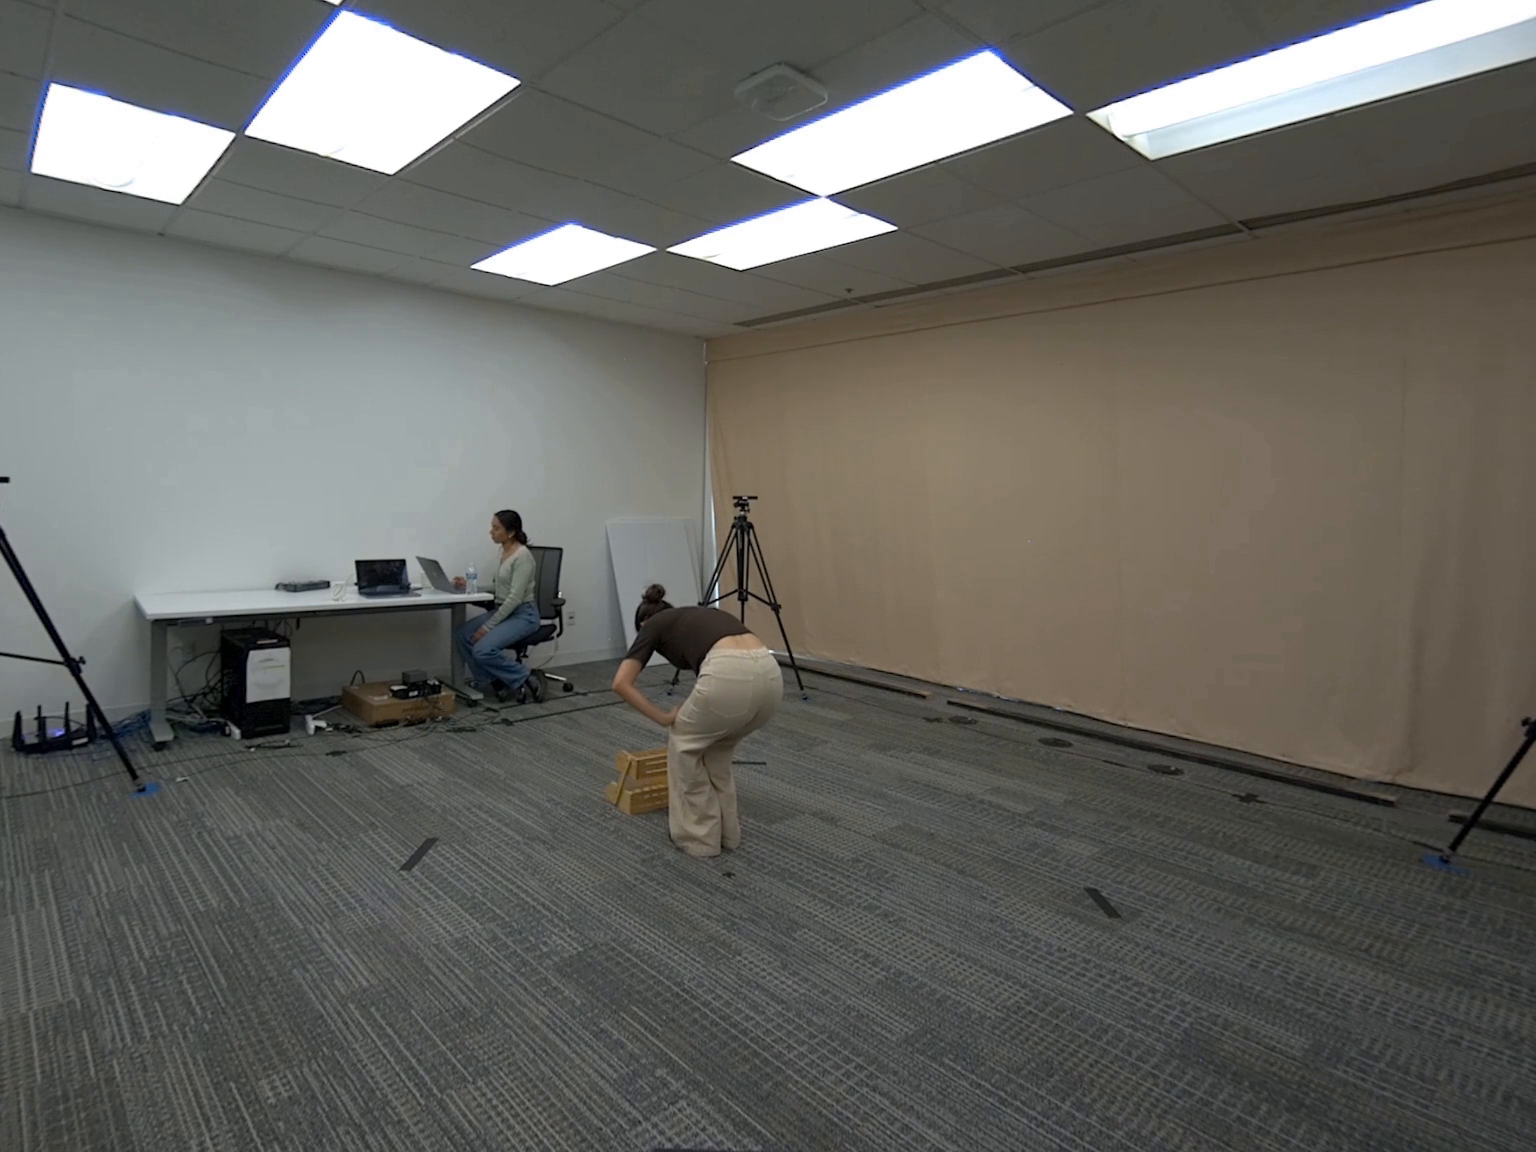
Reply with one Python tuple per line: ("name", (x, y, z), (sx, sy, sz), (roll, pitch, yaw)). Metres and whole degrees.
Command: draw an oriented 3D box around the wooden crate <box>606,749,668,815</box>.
("wooden crate", (-0.547, 0.896, 3.828), (0.317, 0.272, 0.310), (-1, 6, -36))
